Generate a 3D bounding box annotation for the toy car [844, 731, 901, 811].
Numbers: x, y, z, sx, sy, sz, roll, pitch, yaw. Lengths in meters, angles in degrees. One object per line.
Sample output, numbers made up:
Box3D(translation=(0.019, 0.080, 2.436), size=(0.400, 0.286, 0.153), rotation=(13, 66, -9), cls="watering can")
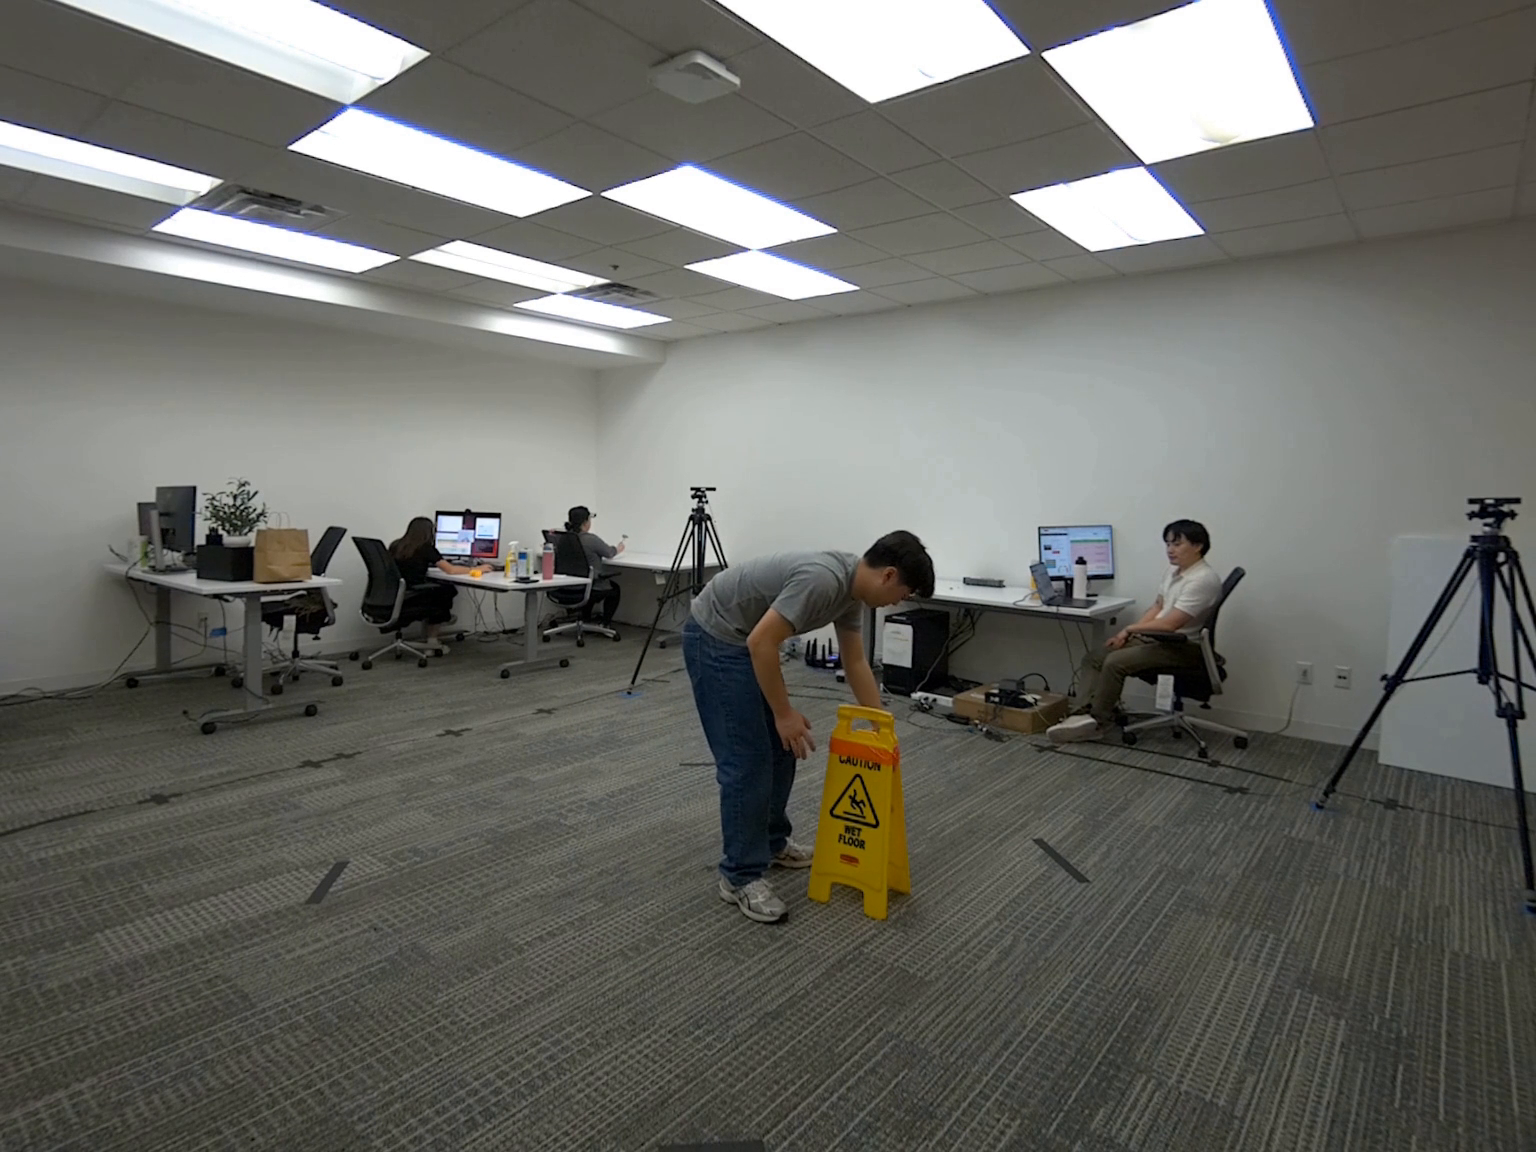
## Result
Box3D(translation=(0.366, 0.683, 2.958), size=(0.134, 0.248, 0.083), rotation=(1, 26, 33), cls="toy car")
